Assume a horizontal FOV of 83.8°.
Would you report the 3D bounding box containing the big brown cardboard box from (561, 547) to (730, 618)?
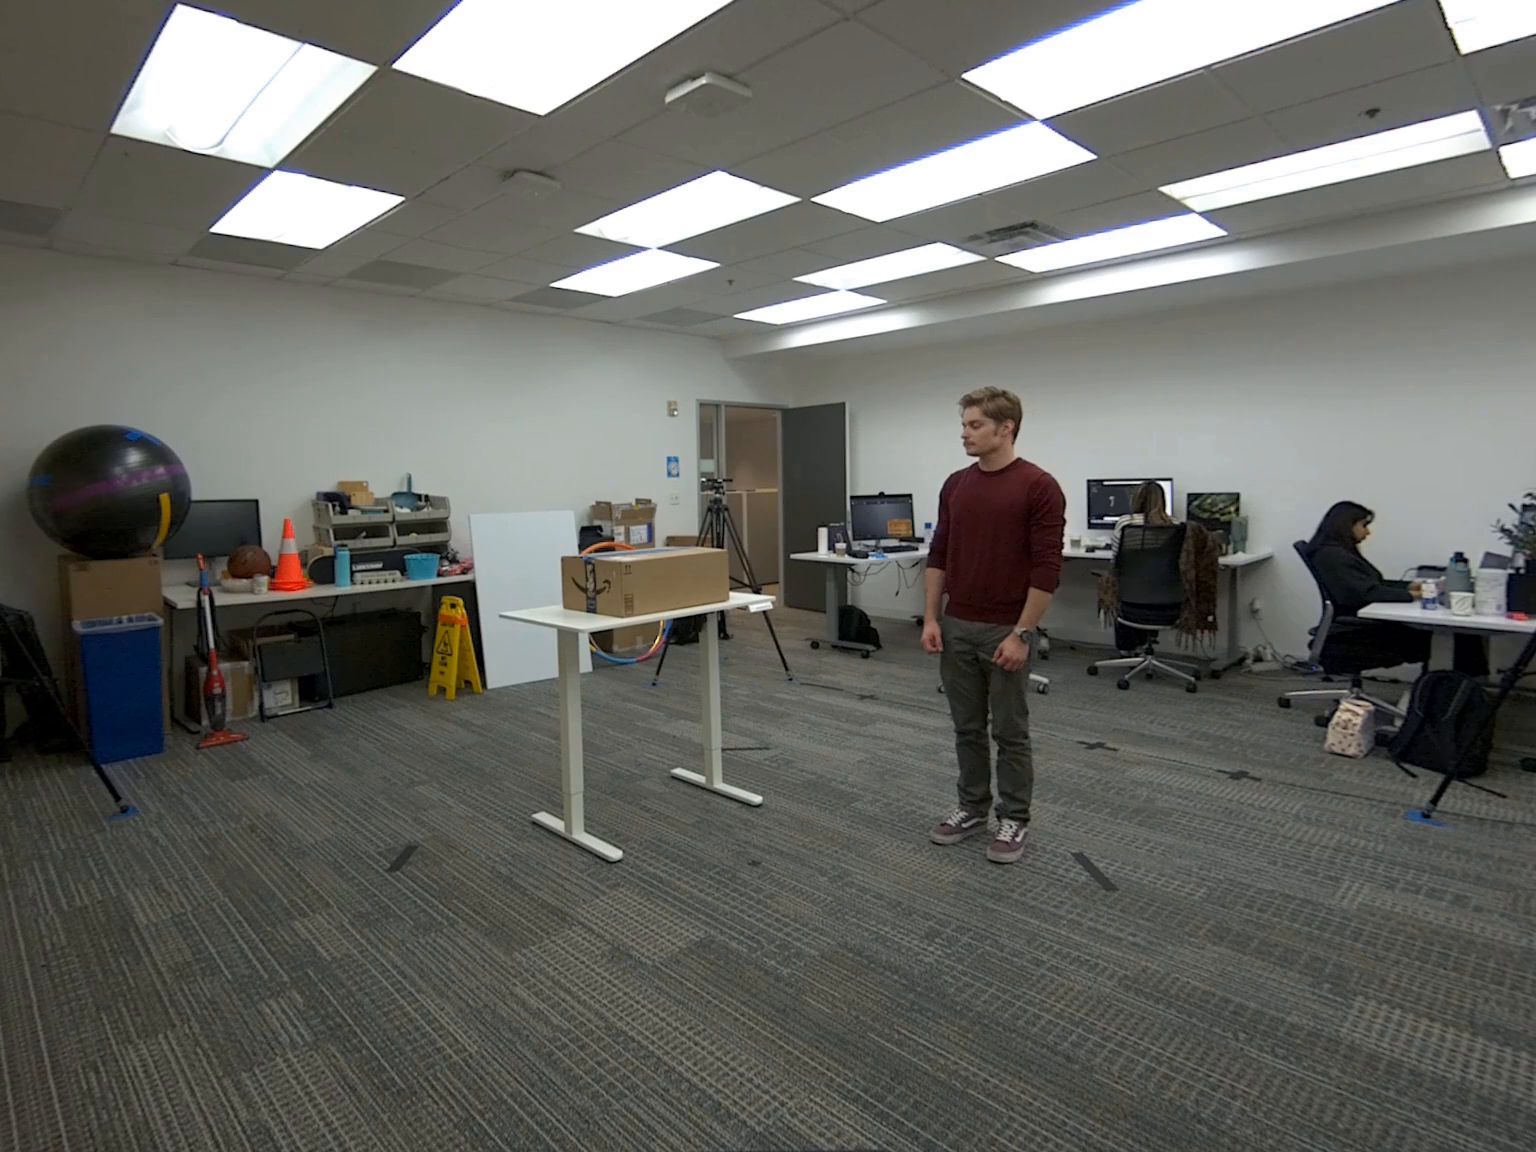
[{"bbox_3d":[-0.507,0.011,3.544,0.430,0.232,0.573,4,7,45],"label":"big brown cardboard box"}]
